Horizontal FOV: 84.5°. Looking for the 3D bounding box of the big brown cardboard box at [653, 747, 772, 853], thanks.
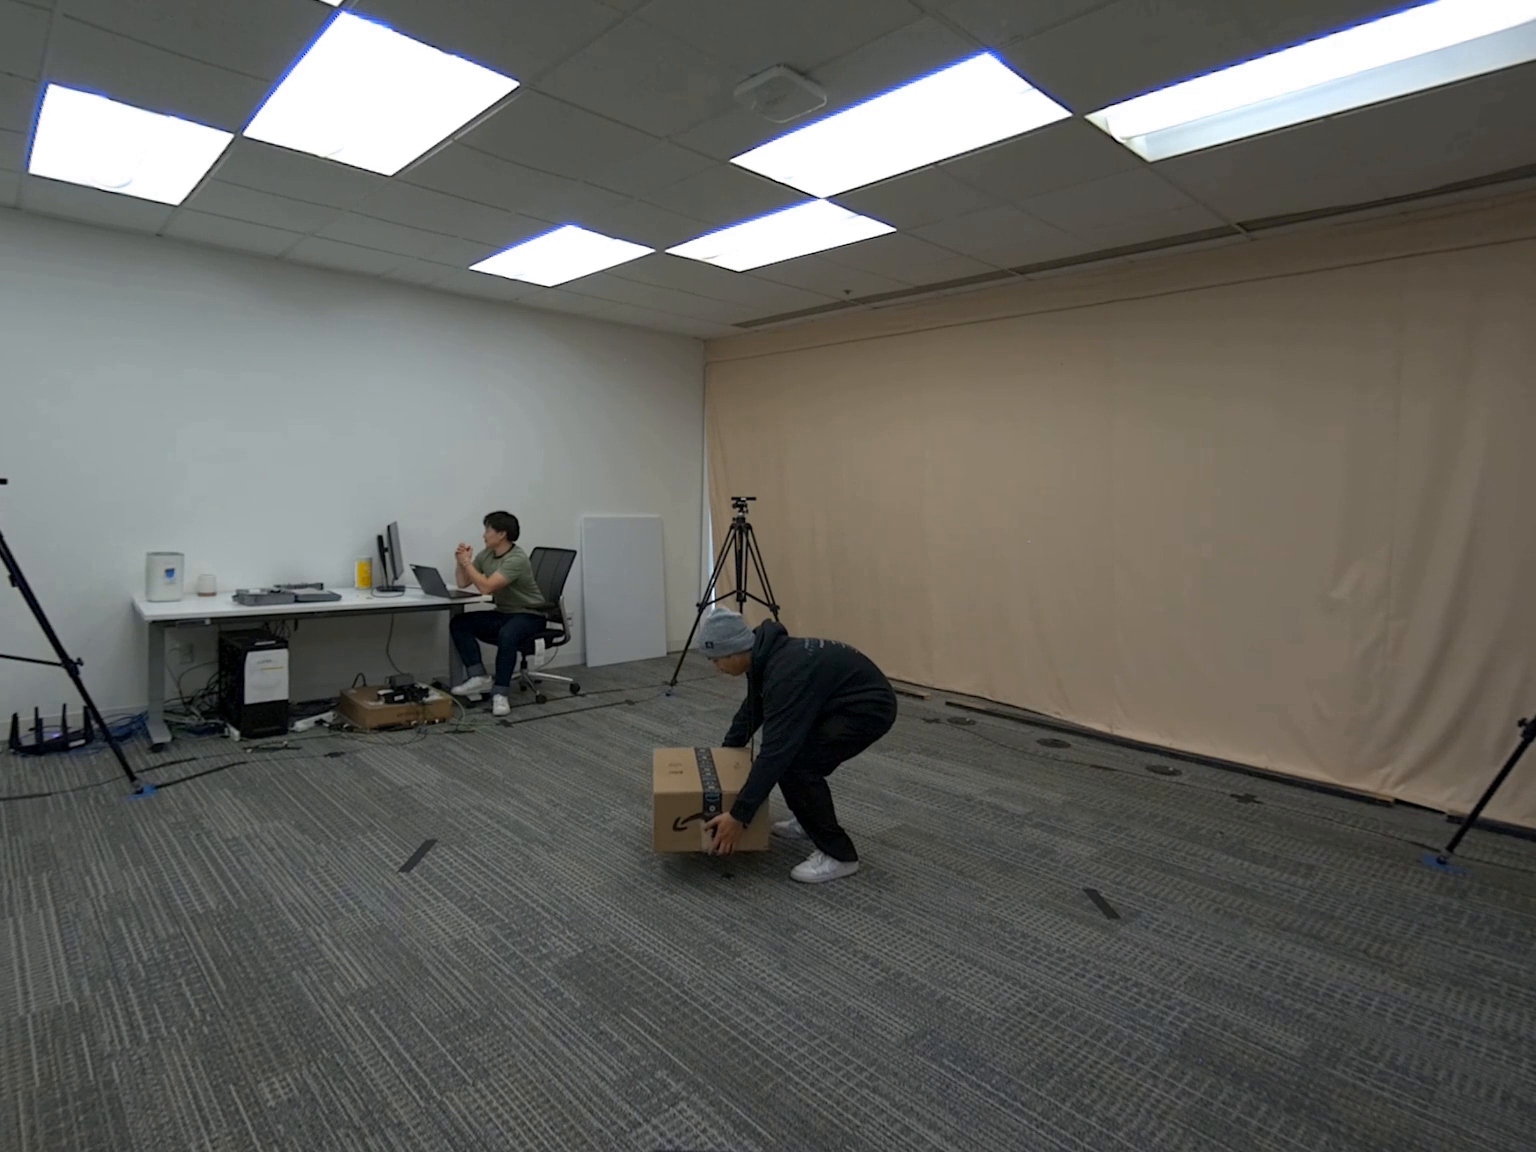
[{"bbox_3d":[-0.248,0.859,3.272,0.415,0.233,0.593,1,3,-7],"label":"big brown cardboard box"}]
